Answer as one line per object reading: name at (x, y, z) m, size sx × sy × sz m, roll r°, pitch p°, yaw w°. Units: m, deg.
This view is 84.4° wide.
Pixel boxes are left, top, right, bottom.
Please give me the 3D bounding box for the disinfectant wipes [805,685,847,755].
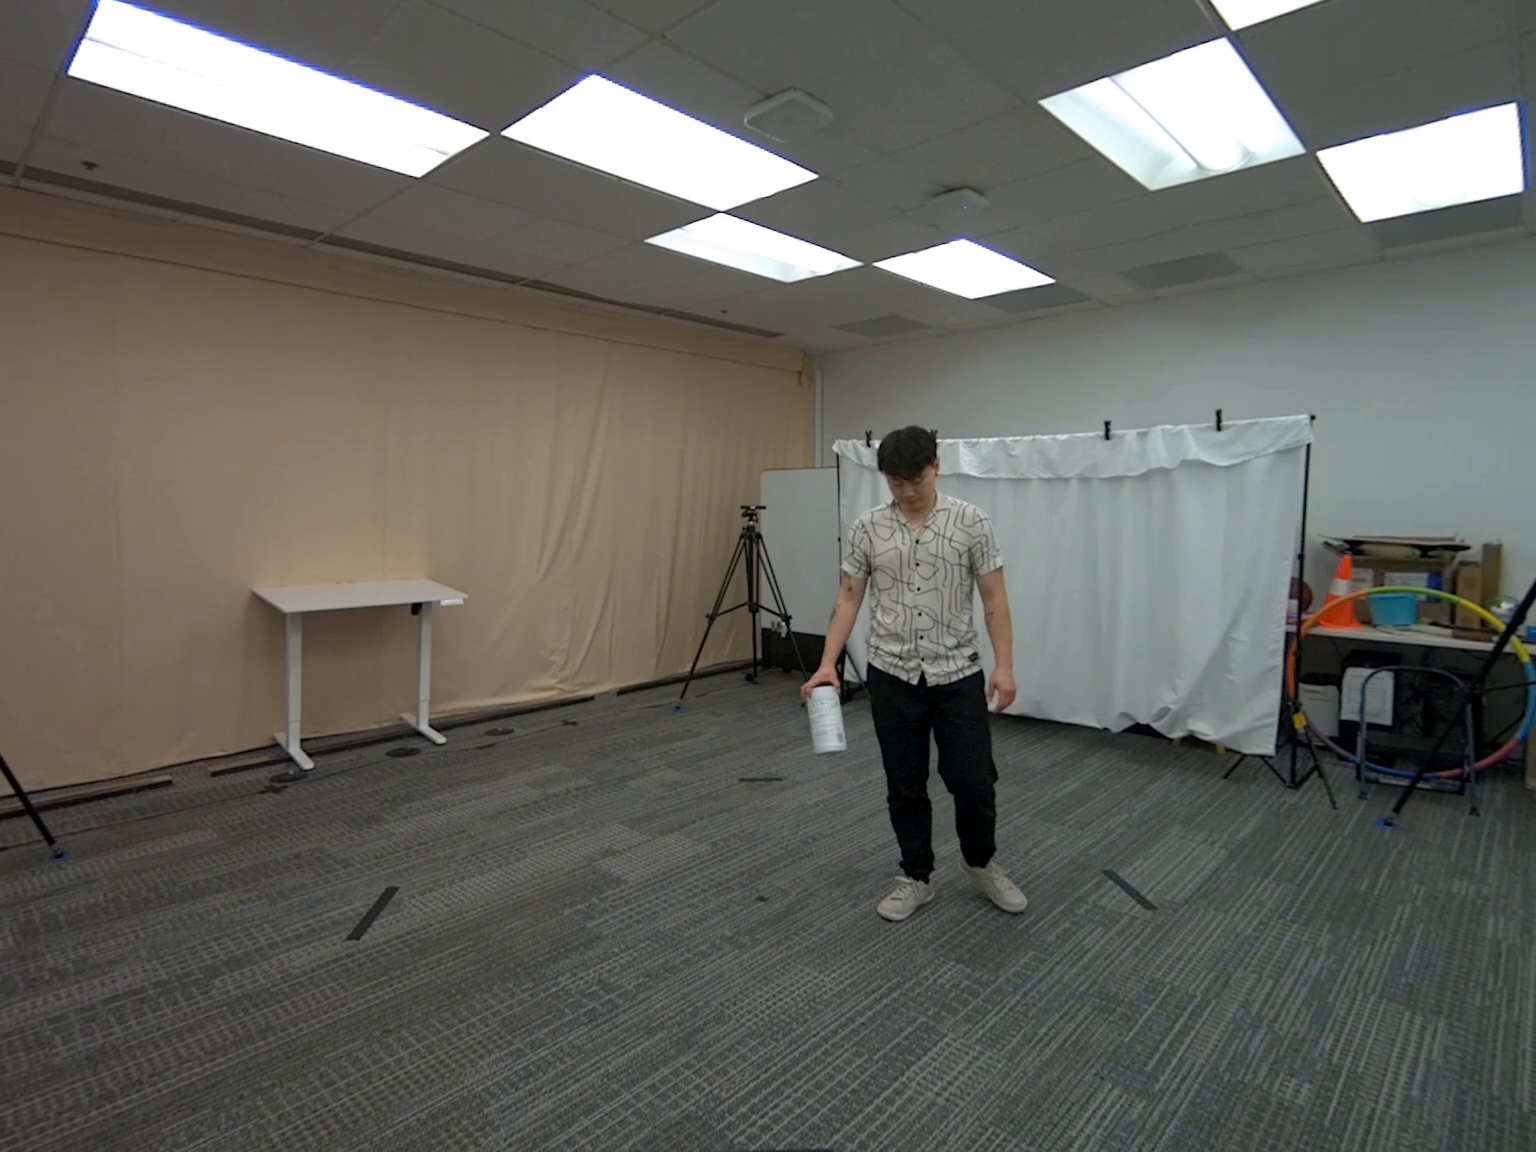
disinfectant wipes at (0.213, 0.494, 2.833) m, size 0.117 × 0.220 × 0.116 m, roll -5°, pitch -17°, yaw -3°
